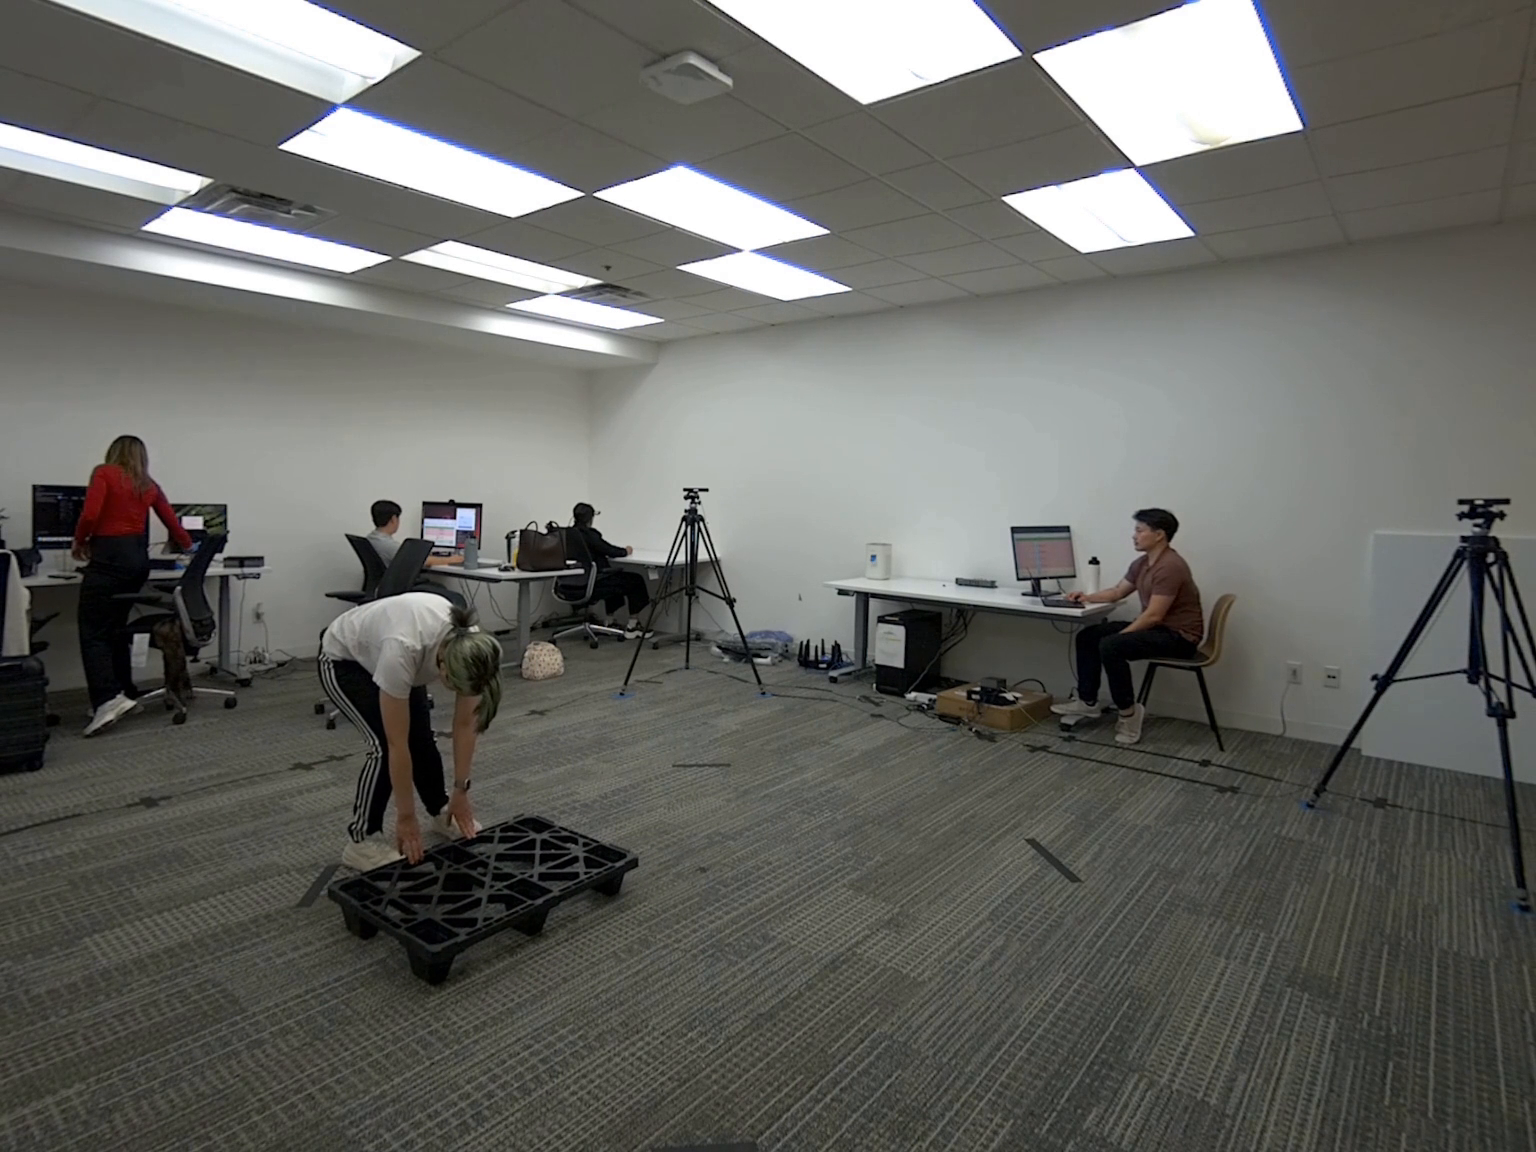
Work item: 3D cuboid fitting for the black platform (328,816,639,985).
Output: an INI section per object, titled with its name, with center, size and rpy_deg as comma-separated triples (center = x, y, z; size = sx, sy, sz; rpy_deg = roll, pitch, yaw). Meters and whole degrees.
[black platform]
center = -0.924, 1.022, 2.782
size = 0.625, 0.143, 0.783
rpy_deg = 5, 7, 37
